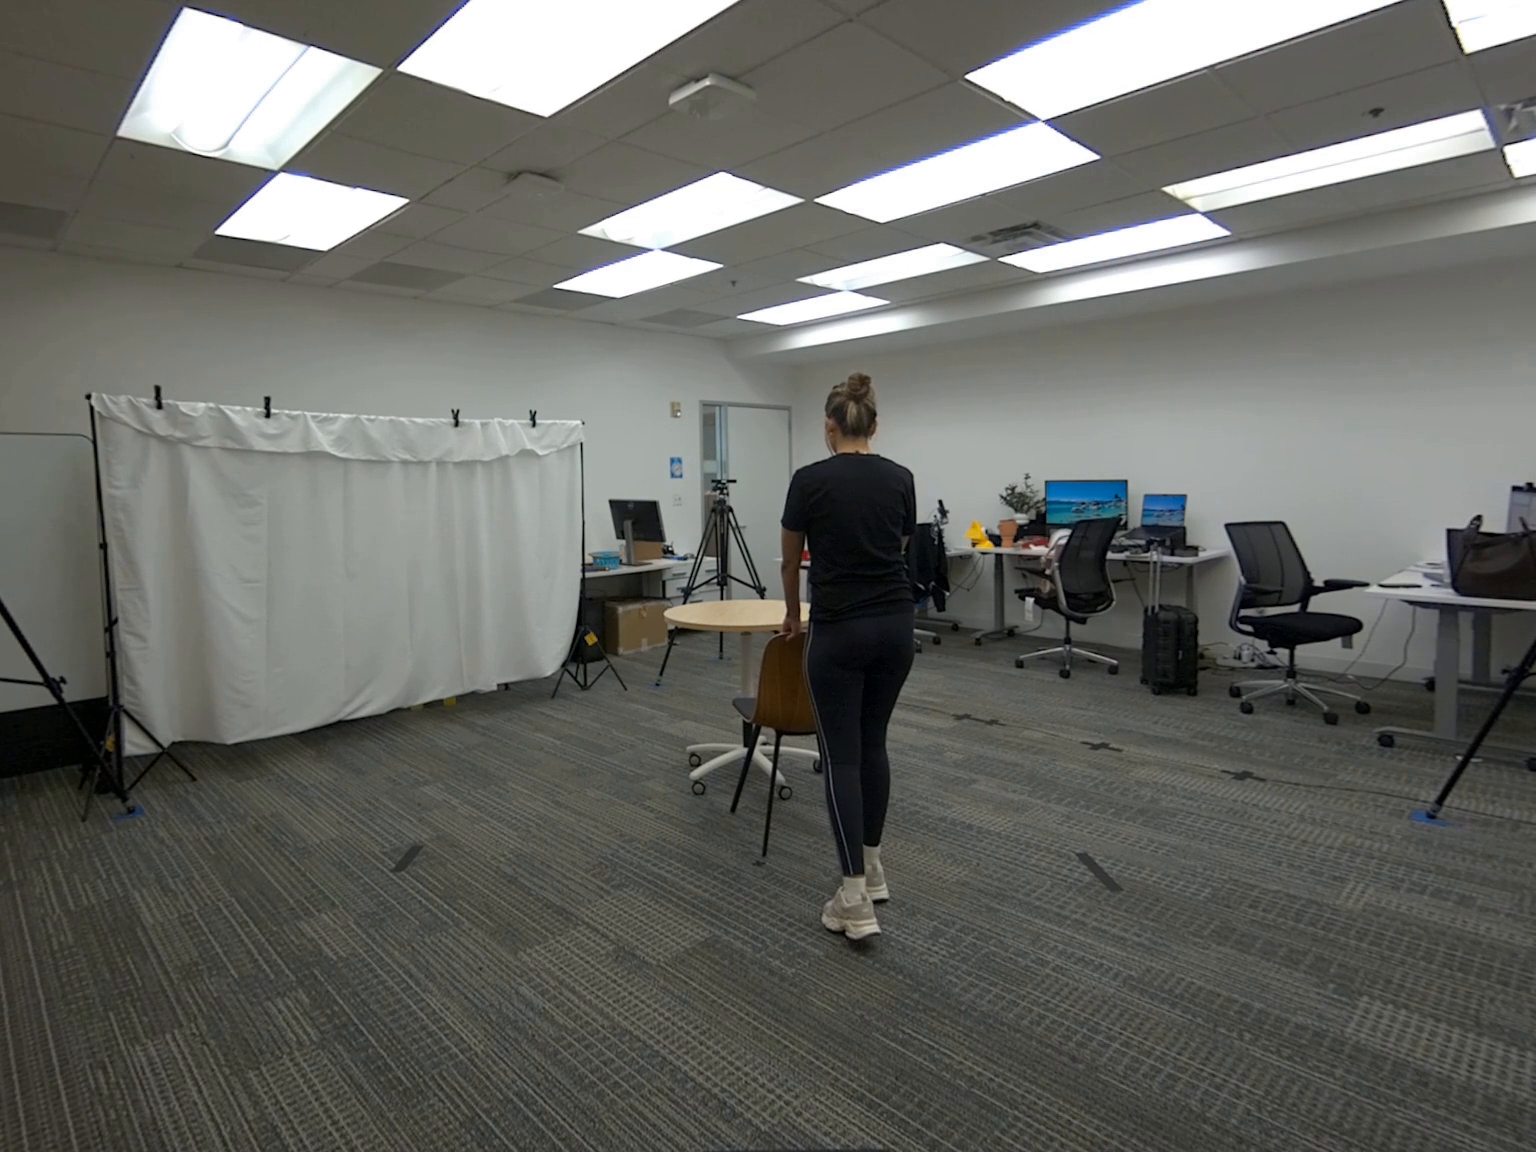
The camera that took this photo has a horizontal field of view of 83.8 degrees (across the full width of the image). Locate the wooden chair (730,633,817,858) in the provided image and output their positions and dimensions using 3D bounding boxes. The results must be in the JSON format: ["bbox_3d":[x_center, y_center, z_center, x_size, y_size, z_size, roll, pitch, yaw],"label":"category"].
[{"bbox_3d":[0.116,0.586,3.406,0.471,0.871,0.535,-3,9,-16],"label":"wooden chair"}]
